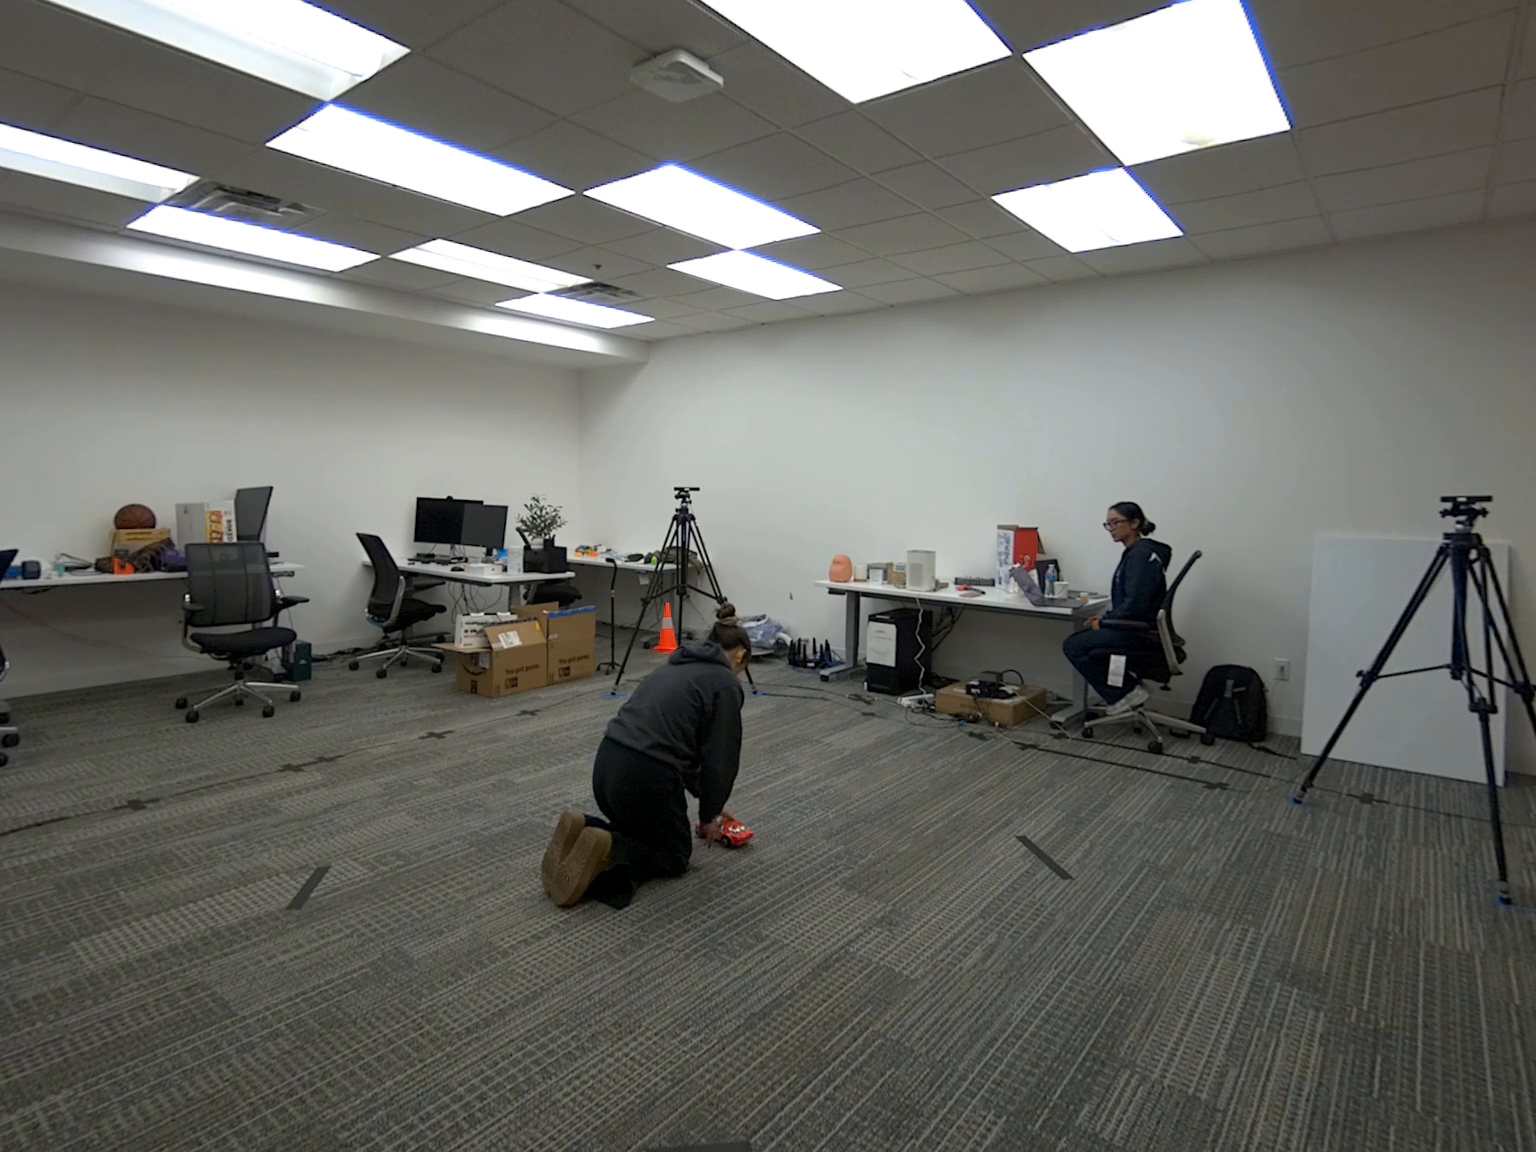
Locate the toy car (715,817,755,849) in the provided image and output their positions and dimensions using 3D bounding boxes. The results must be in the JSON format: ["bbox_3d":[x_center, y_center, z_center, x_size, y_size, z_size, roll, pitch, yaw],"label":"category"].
[{"bbox_3d":[-0.166,1.009,3.363,0.261,0.083,0.126,-10,-4,42],"label":"toy car"}]
